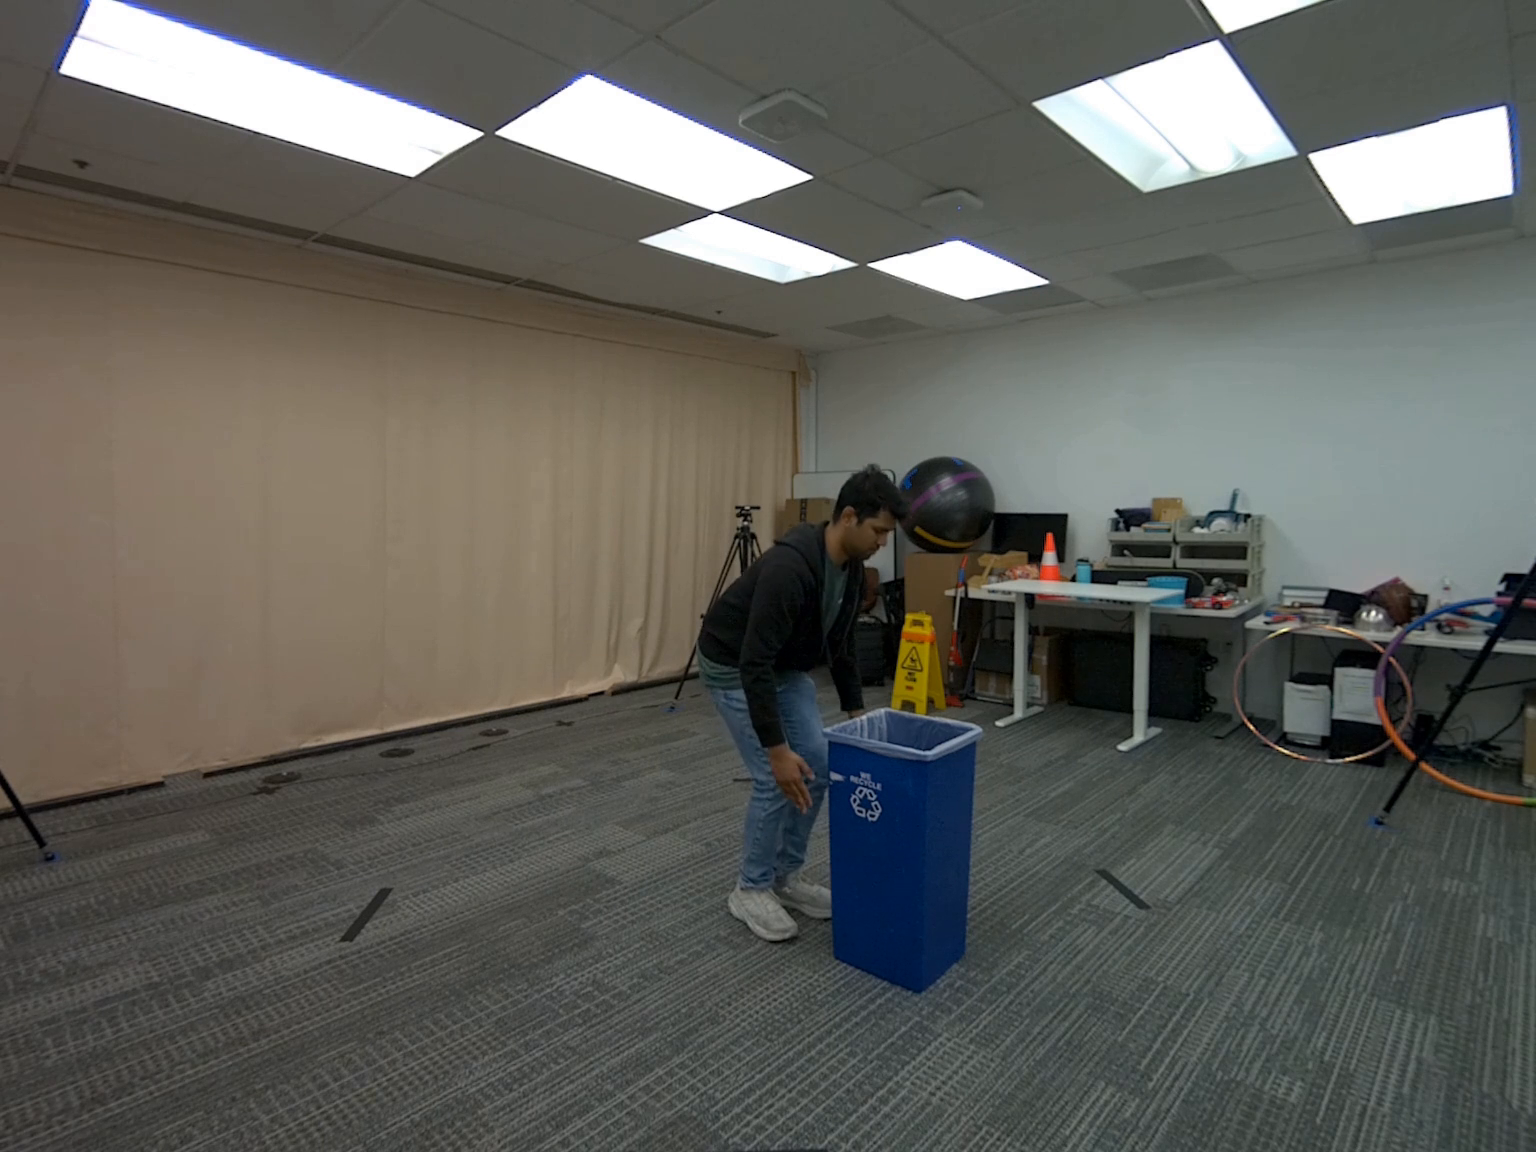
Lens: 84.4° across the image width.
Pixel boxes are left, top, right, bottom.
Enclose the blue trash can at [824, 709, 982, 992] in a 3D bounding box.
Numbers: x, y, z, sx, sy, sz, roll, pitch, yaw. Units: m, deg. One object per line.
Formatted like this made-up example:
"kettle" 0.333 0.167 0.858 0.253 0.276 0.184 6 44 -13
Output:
"blue trash can" 0.422 0.821 2.579 0.386 0.712 0.367 2 4 40
